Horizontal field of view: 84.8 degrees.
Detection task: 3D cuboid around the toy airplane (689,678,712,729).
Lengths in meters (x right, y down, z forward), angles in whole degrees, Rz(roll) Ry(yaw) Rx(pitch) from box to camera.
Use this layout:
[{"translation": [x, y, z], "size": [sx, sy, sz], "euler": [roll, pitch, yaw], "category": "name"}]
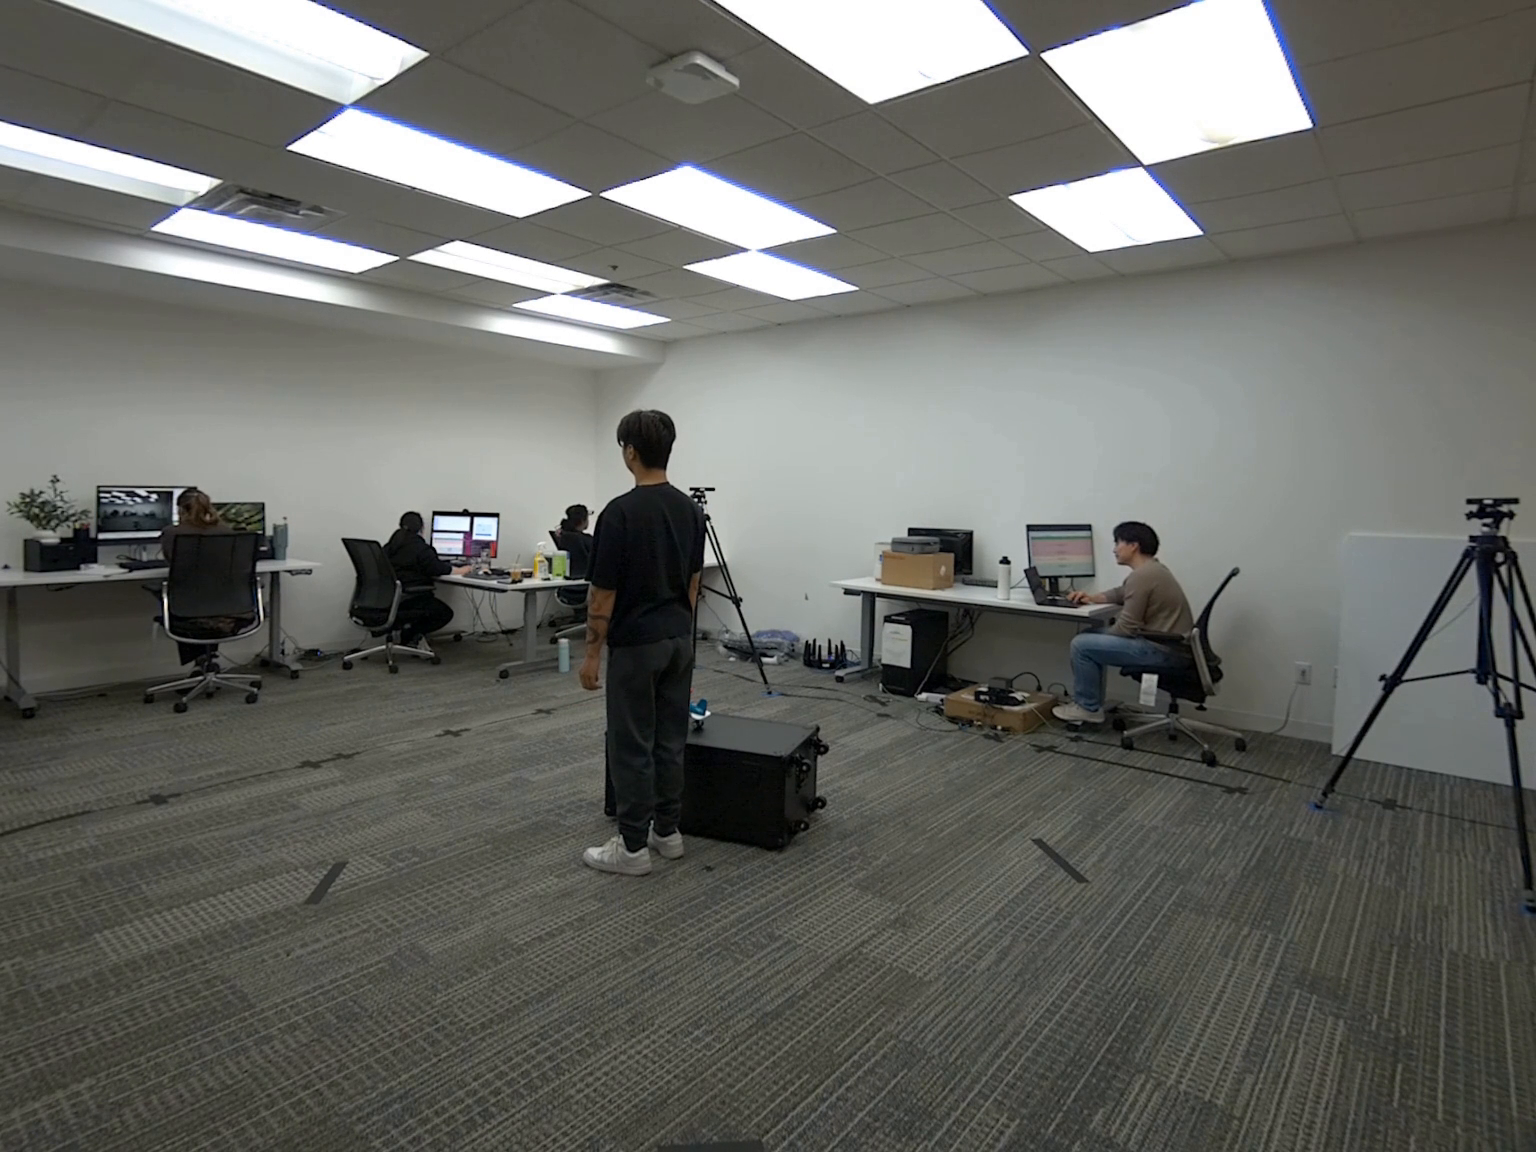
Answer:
[{"translation": [-0.384, 0.551, 3.659], "size": [0.258, 0.156, 0.253], "euler": [-1, 6, -4], "category": "toy airplane"}]
